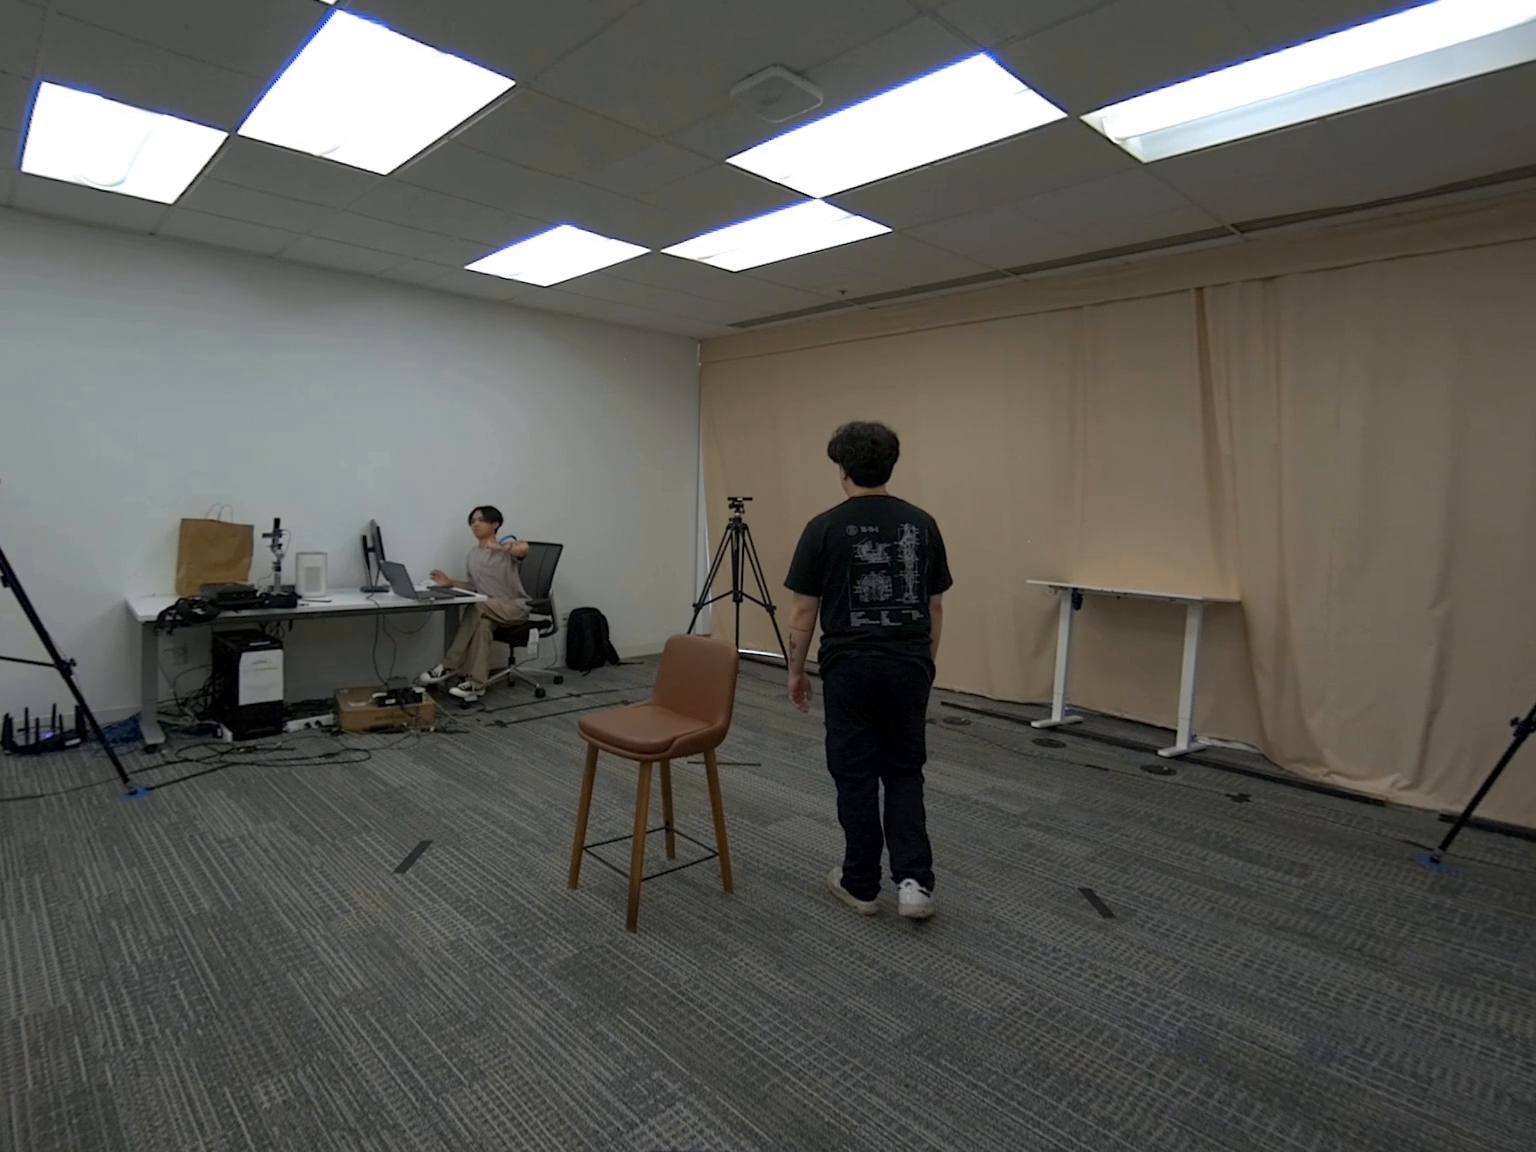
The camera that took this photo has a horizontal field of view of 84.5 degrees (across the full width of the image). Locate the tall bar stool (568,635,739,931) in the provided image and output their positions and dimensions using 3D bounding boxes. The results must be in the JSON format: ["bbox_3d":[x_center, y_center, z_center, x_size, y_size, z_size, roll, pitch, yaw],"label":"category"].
[{"bbox_3d":[-0.400,0.679,2.958,0.456,0.888,0.468,1,3,-42],"label":"tall bar stool"}]
